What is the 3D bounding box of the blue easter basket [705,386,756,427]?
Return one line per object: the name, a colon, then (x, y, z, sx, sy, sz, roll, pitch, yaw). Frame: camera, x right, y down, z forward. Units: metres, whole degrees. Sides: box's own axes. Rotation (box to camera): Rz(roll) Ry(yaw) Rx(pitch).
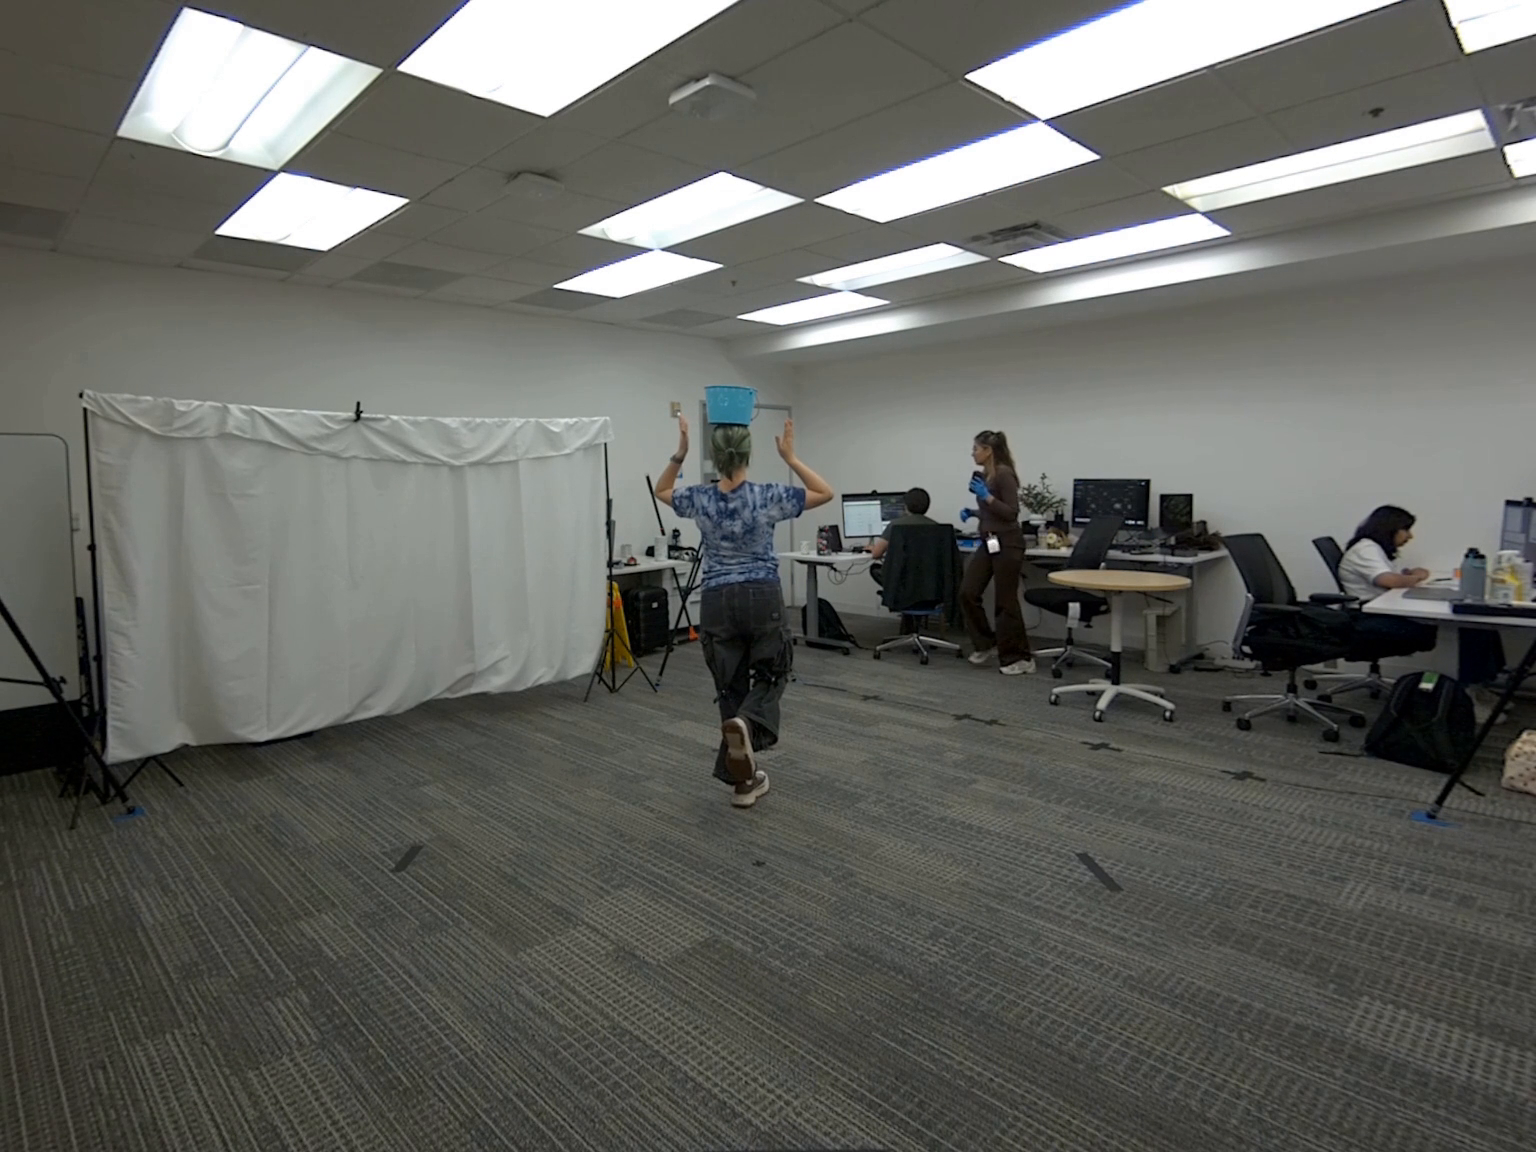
blue easter basket: (-0.166, -0.727, 3.677, 0.243, 0.155, 0.245, 2, 5, -2)
